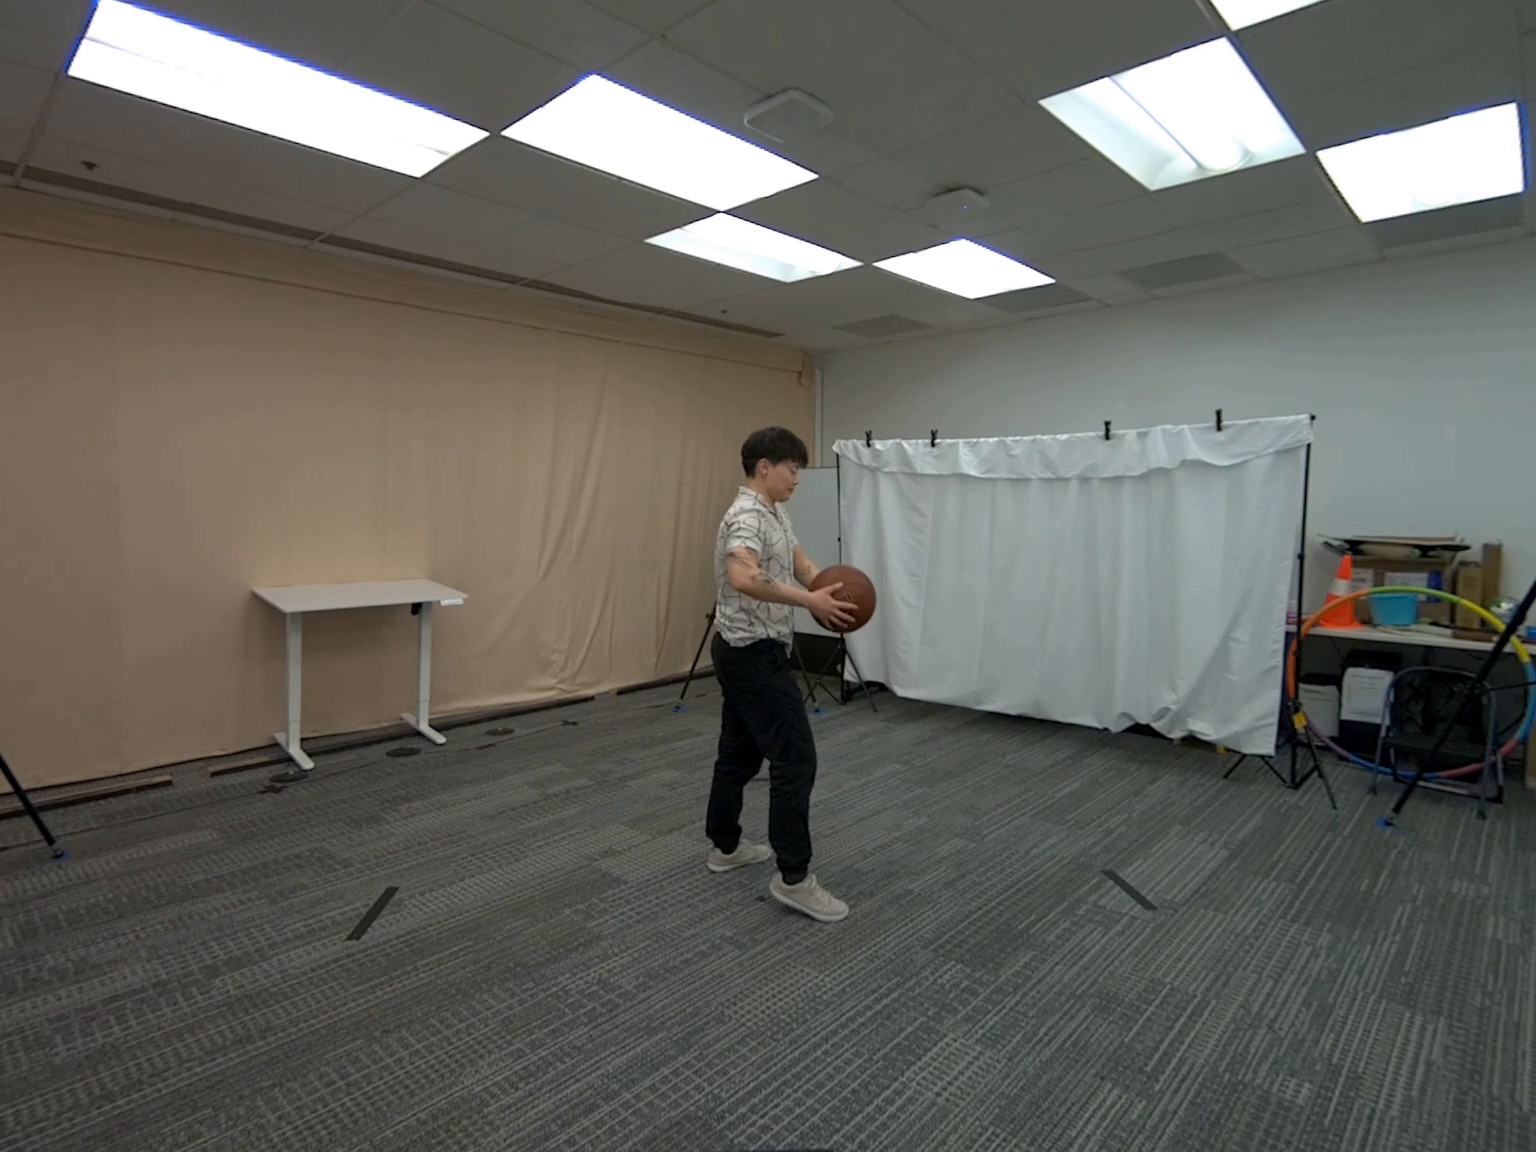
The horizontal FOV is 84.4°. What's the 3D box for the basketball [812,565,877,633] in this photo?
[{"bbox_3d":[0.250,0.090,2.926,0.236,0.235,0.237,0,4,-2],"label":"basketball"}]
